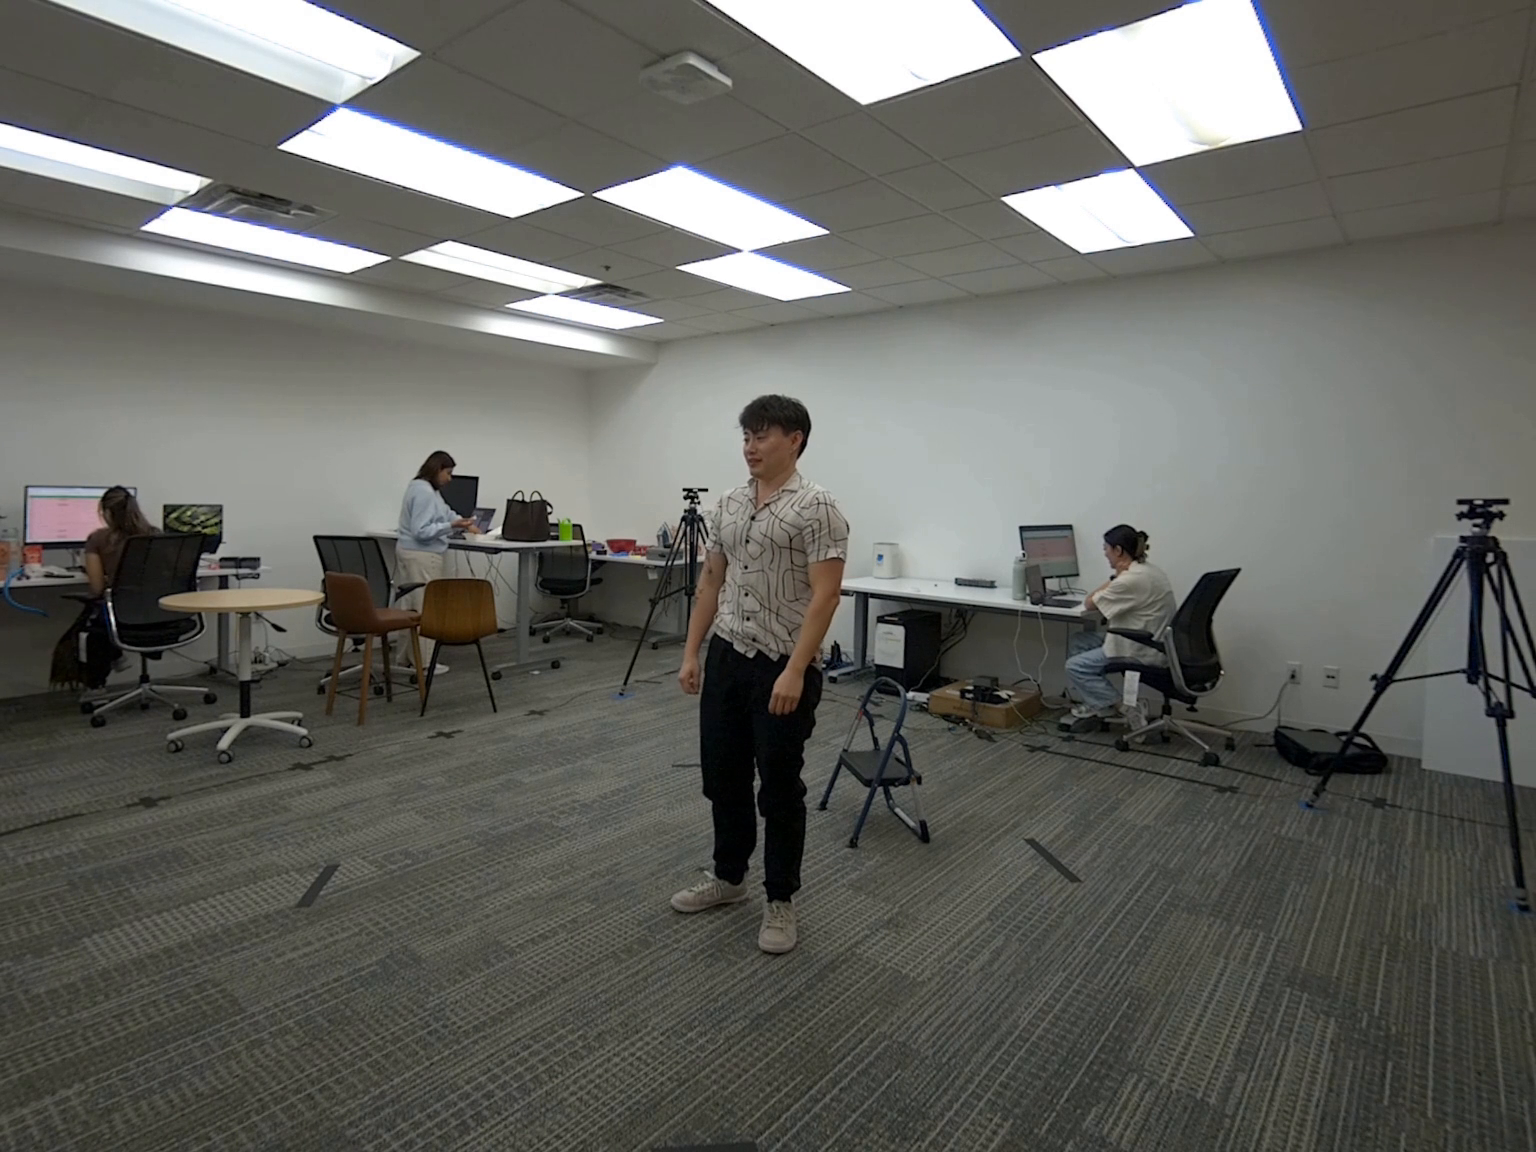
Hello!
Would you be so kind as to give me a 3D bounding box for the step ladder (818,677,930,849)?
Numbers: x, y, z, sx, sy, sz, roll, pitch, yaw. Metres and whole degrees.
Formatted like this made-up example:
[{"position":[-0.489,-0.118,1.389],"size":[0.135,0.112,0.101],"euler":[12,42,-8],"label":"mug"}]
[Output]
[{"position":[0.439,0.740,3.551],"size":[0.344,0.604,0.438],"euler":[1,3,-14],"label":"step ladder"}]
